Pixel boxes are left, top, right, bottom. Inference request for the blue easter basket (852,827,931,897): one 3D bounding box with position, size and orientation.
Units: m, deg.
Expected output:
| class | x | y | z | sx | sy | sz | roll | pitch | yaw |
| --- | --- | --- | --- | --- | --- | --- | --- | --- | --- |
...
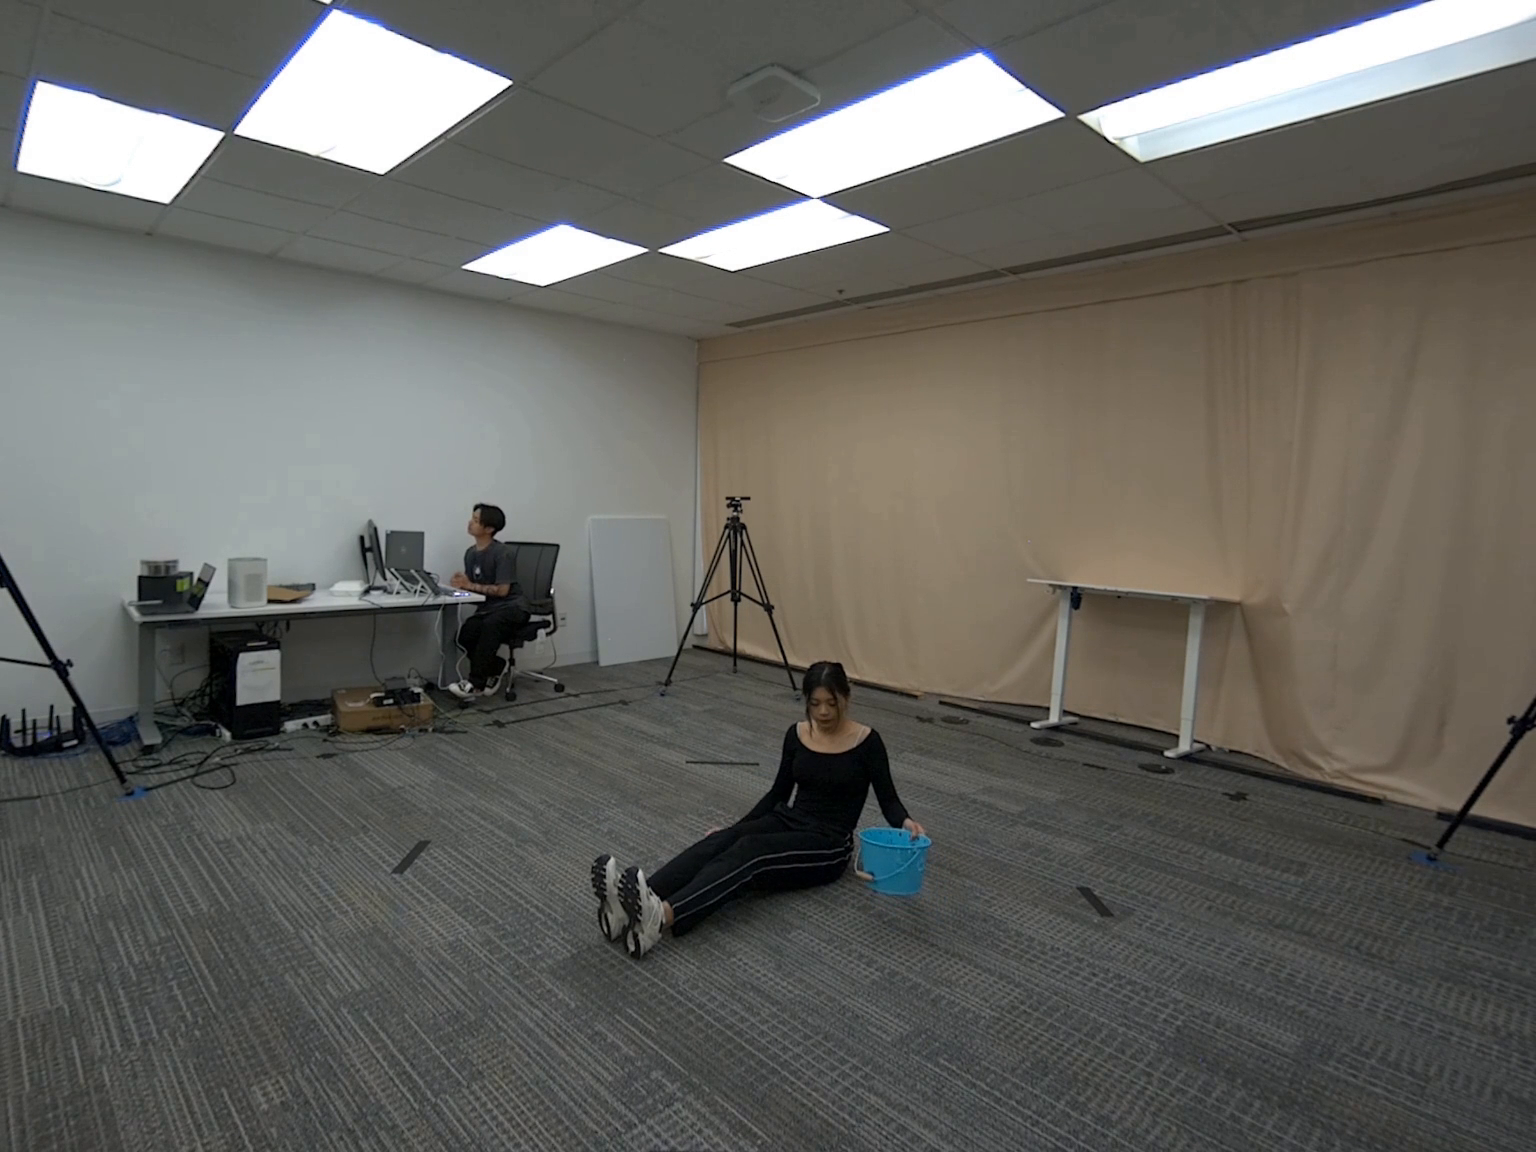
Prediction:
| class | x | y | z | sx | sy | sz | roll | pitch | yaw |
| --- | --- | --- | --- | --- | --- | --- | --- | --- | --- |
| blue easter basket | 0.398 | 0.931 | 2.729 | 0.243 | 0.156 | 0.243 | 3 | -5 | -1 |
